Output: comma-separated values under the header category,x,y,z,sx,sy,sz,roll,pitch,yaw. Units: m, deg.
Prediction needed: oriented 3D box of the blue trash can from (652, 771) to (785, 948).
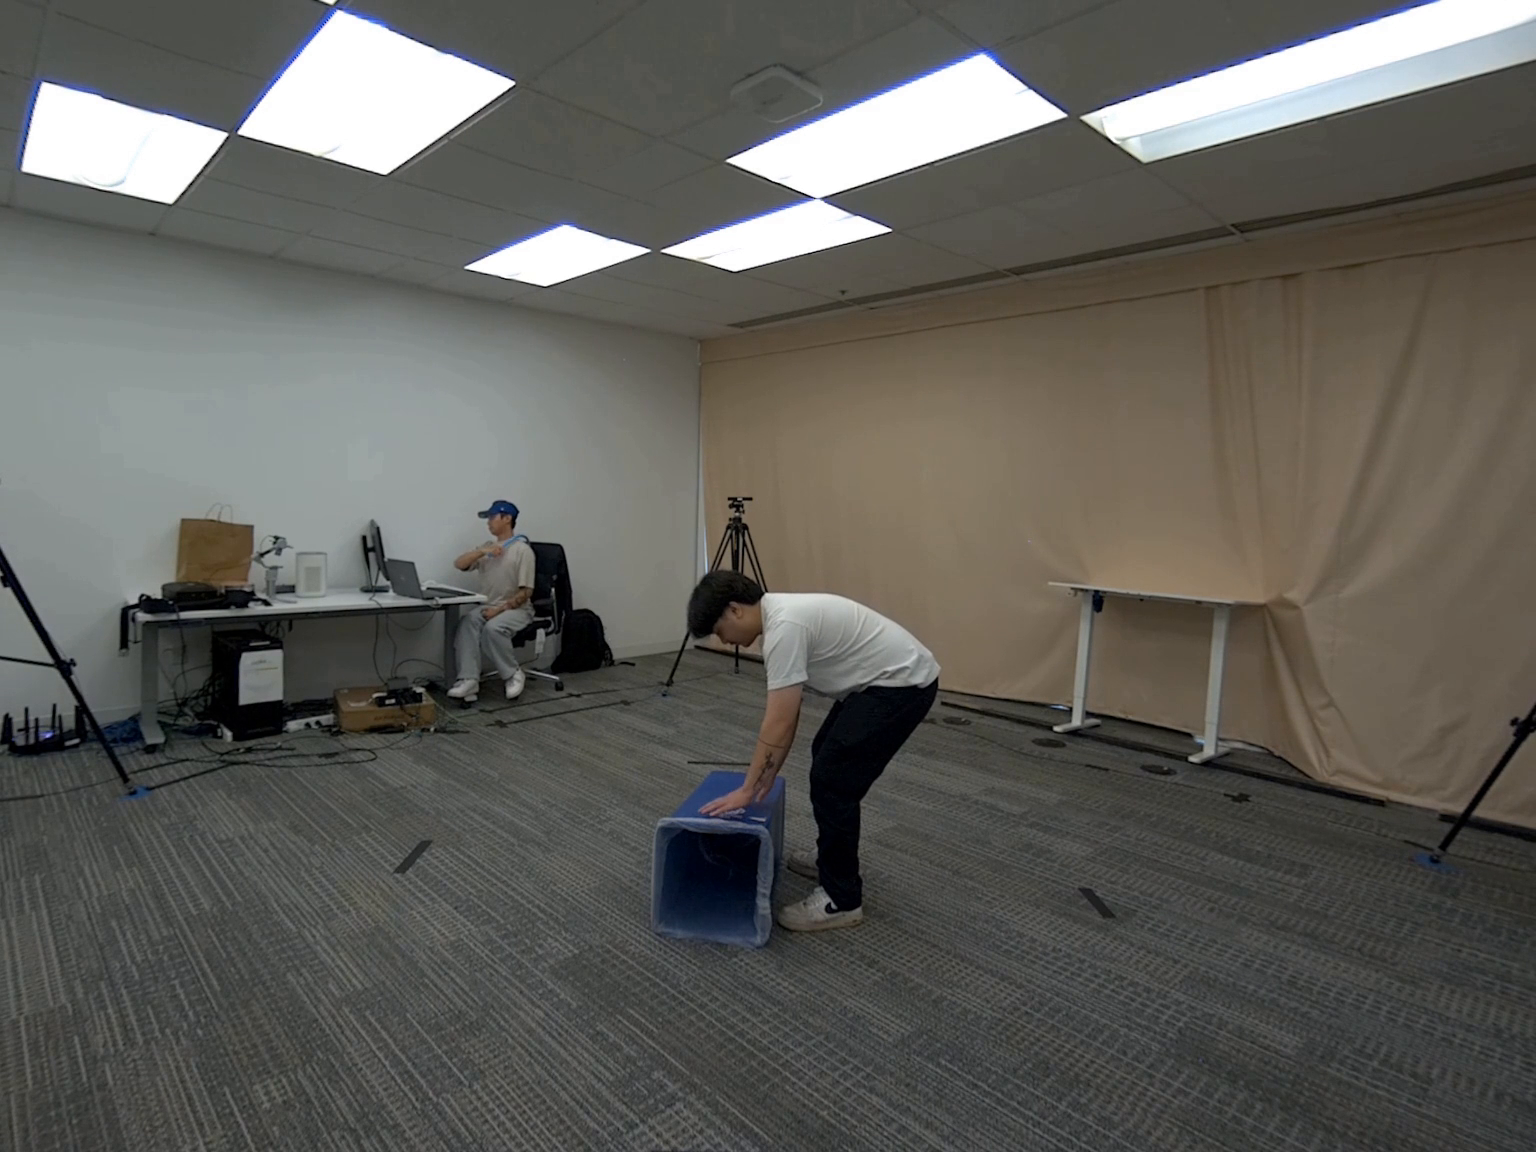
category,x,y,z,sx,sy,sz,roll,pitch,yaw
blue trash can,-0.141,0.946,2.982,0.377,0.378,0.709,1,2,7
